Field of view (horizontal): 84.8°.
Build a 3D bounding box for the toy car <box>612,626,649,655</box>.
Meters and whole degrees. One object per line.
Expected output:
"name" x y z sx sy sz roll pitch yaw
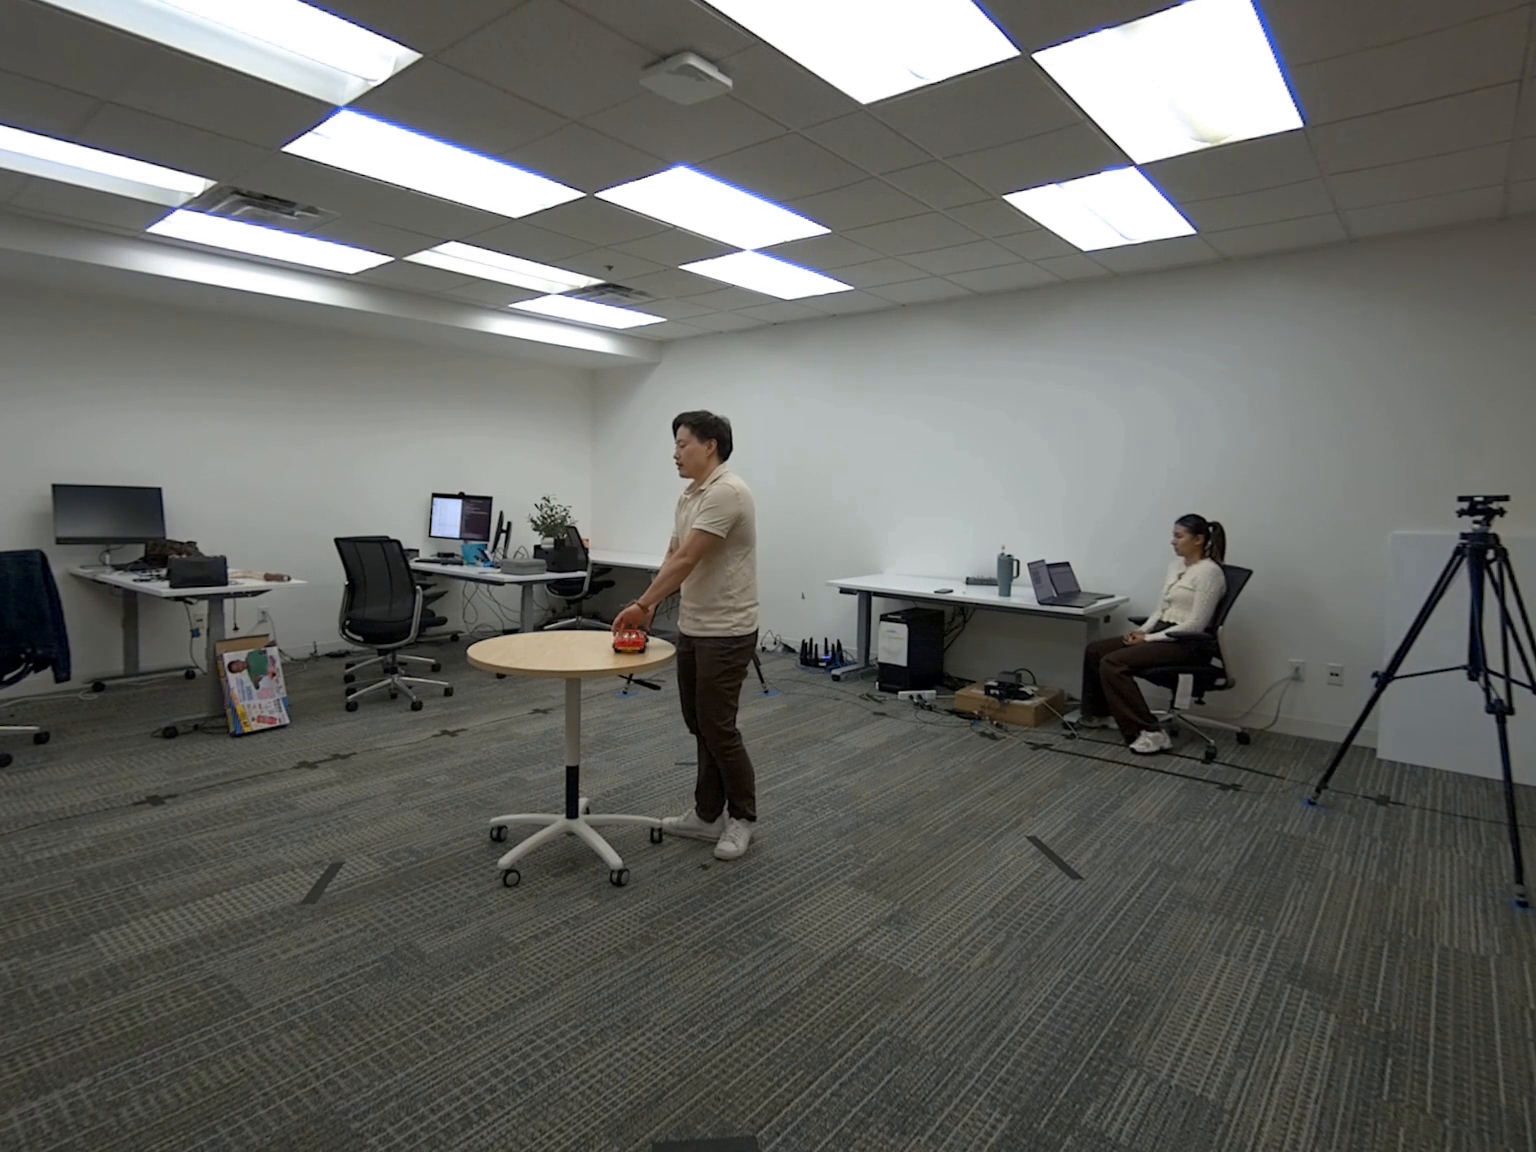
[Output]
"toy car" -0.524 0.243 3.168 0.130 0.084 0.253 1 -6 -4
